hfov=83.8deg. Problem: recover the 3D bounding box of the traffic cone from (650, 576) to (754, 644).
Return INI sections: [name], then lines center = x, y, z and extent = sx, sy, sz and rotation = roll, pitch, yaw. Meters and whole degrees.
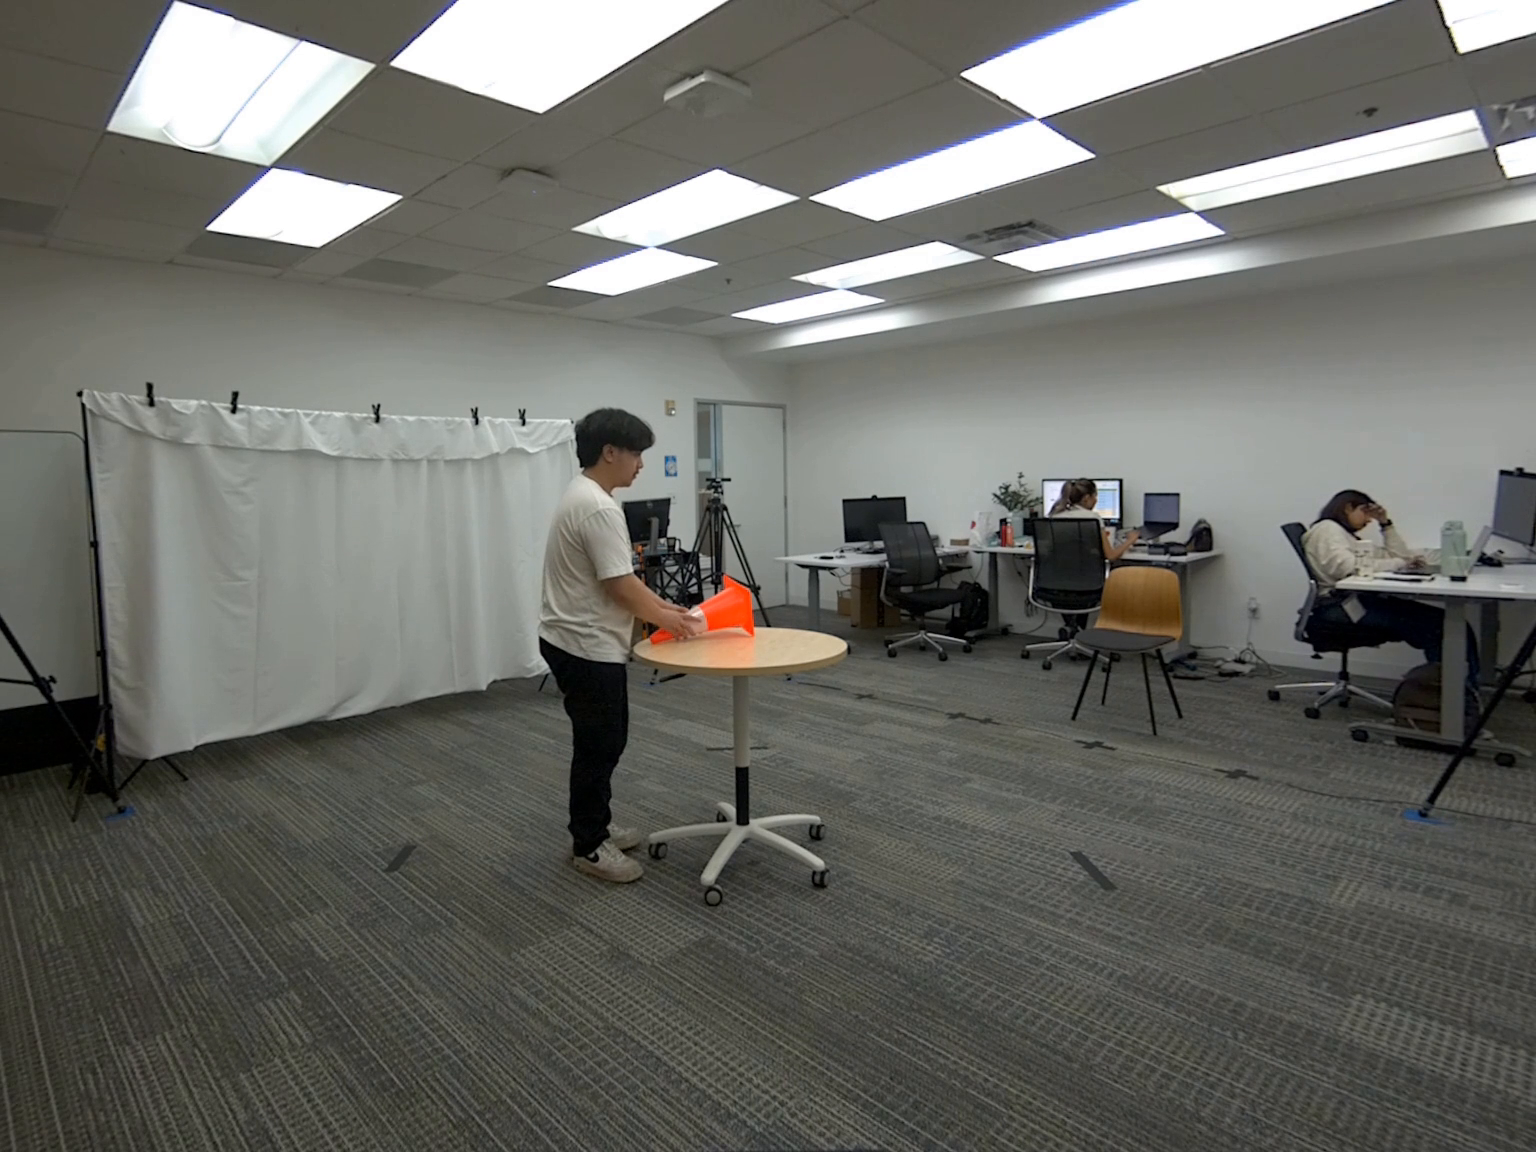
[traffic cone]
center = -0.274, 0.178, 3.204
extent = 0.379, 0.198, 0.213
rotation = -22, 30, -25
